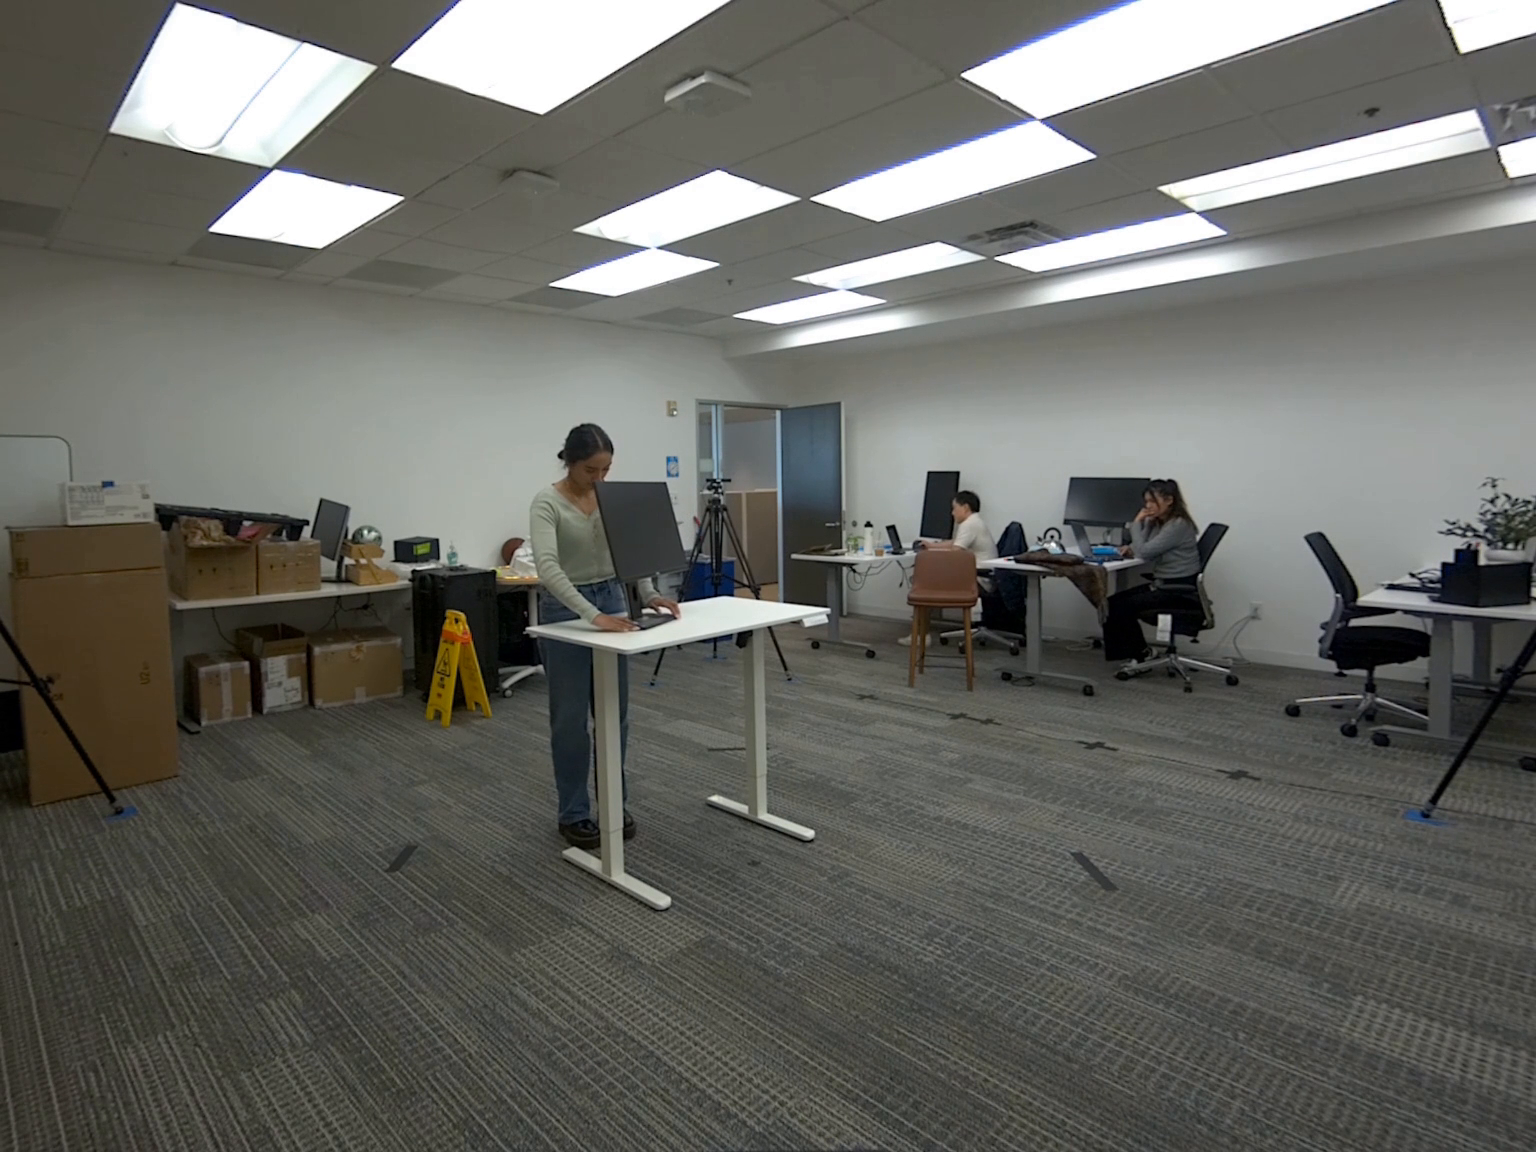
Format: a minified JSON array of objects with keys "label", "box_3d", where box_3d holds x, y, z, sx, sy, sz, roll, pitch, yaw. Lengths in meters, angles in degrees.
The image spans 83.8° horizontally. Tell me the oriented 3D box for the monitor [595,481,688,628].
[{"label":"monitor","box_3d":[-0.463,-0.086,3.091,0.178,0.514,0.522,2,4,17]}]
